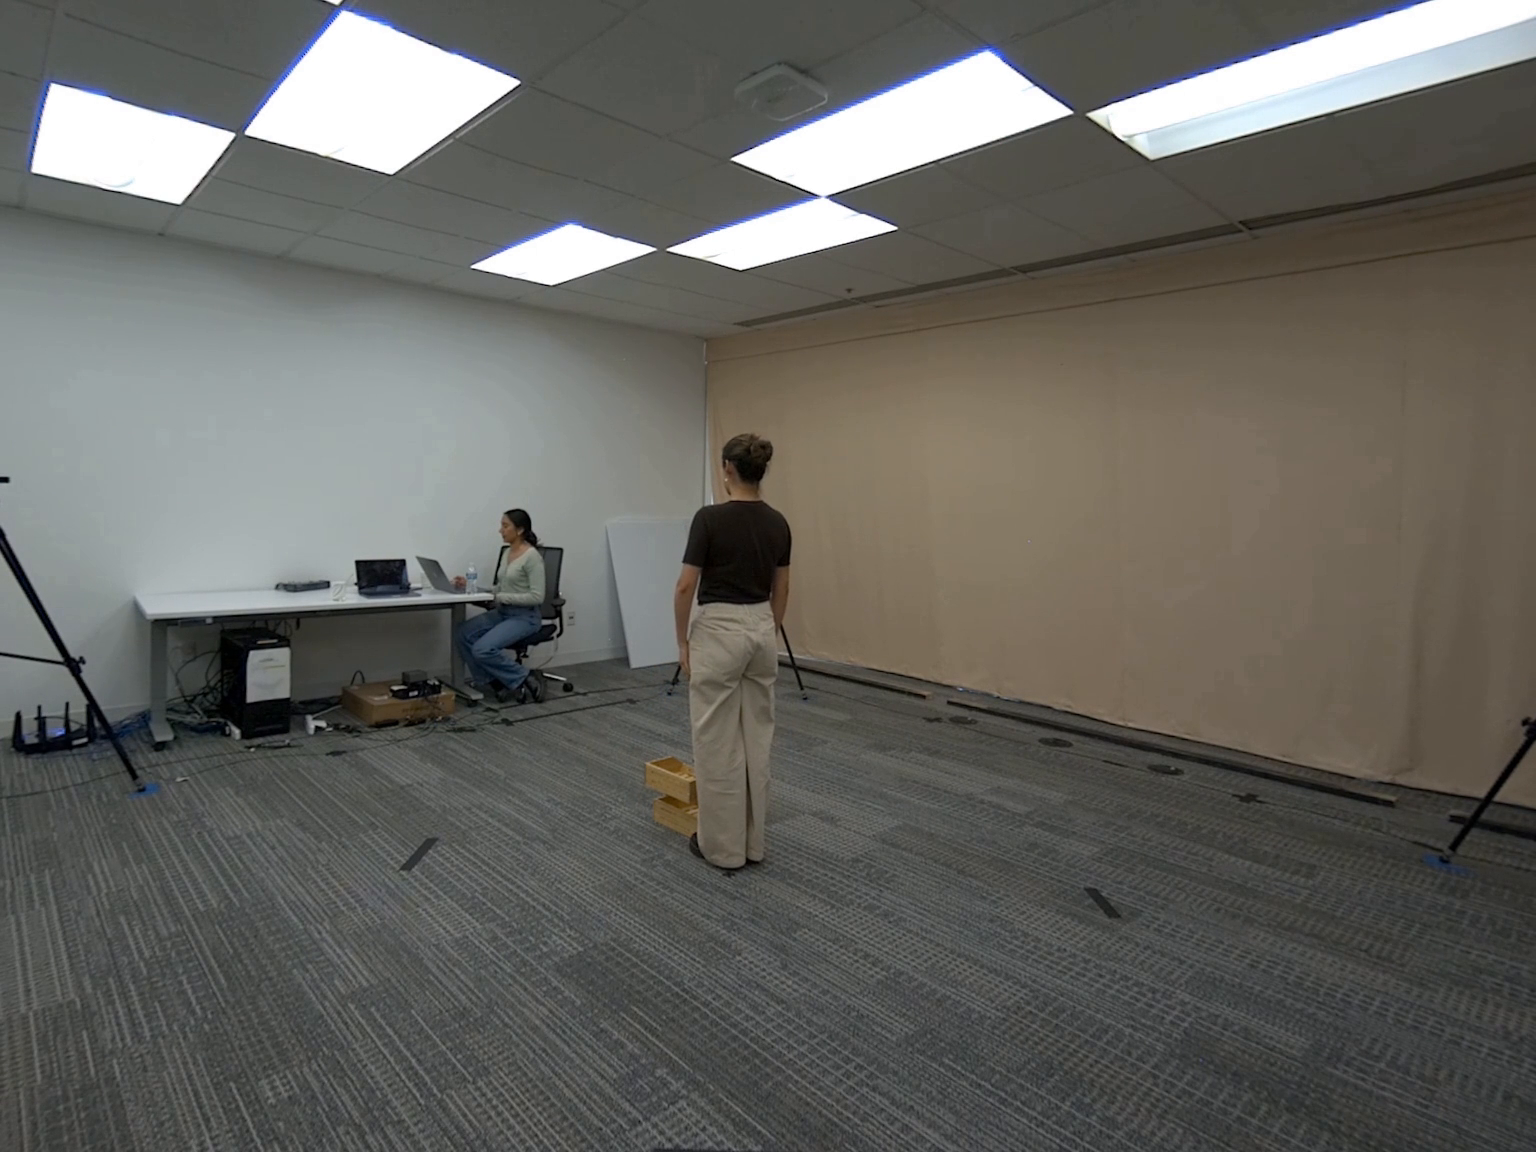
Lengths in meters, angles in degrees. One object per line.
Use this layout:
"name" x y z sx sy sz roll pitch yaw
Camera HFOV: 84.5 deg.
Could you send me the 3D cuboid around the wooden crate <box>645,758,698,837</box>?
"wooden crate" -0.320 0.923 3.565 0.295 0.272 0.333 -4 7 -44
